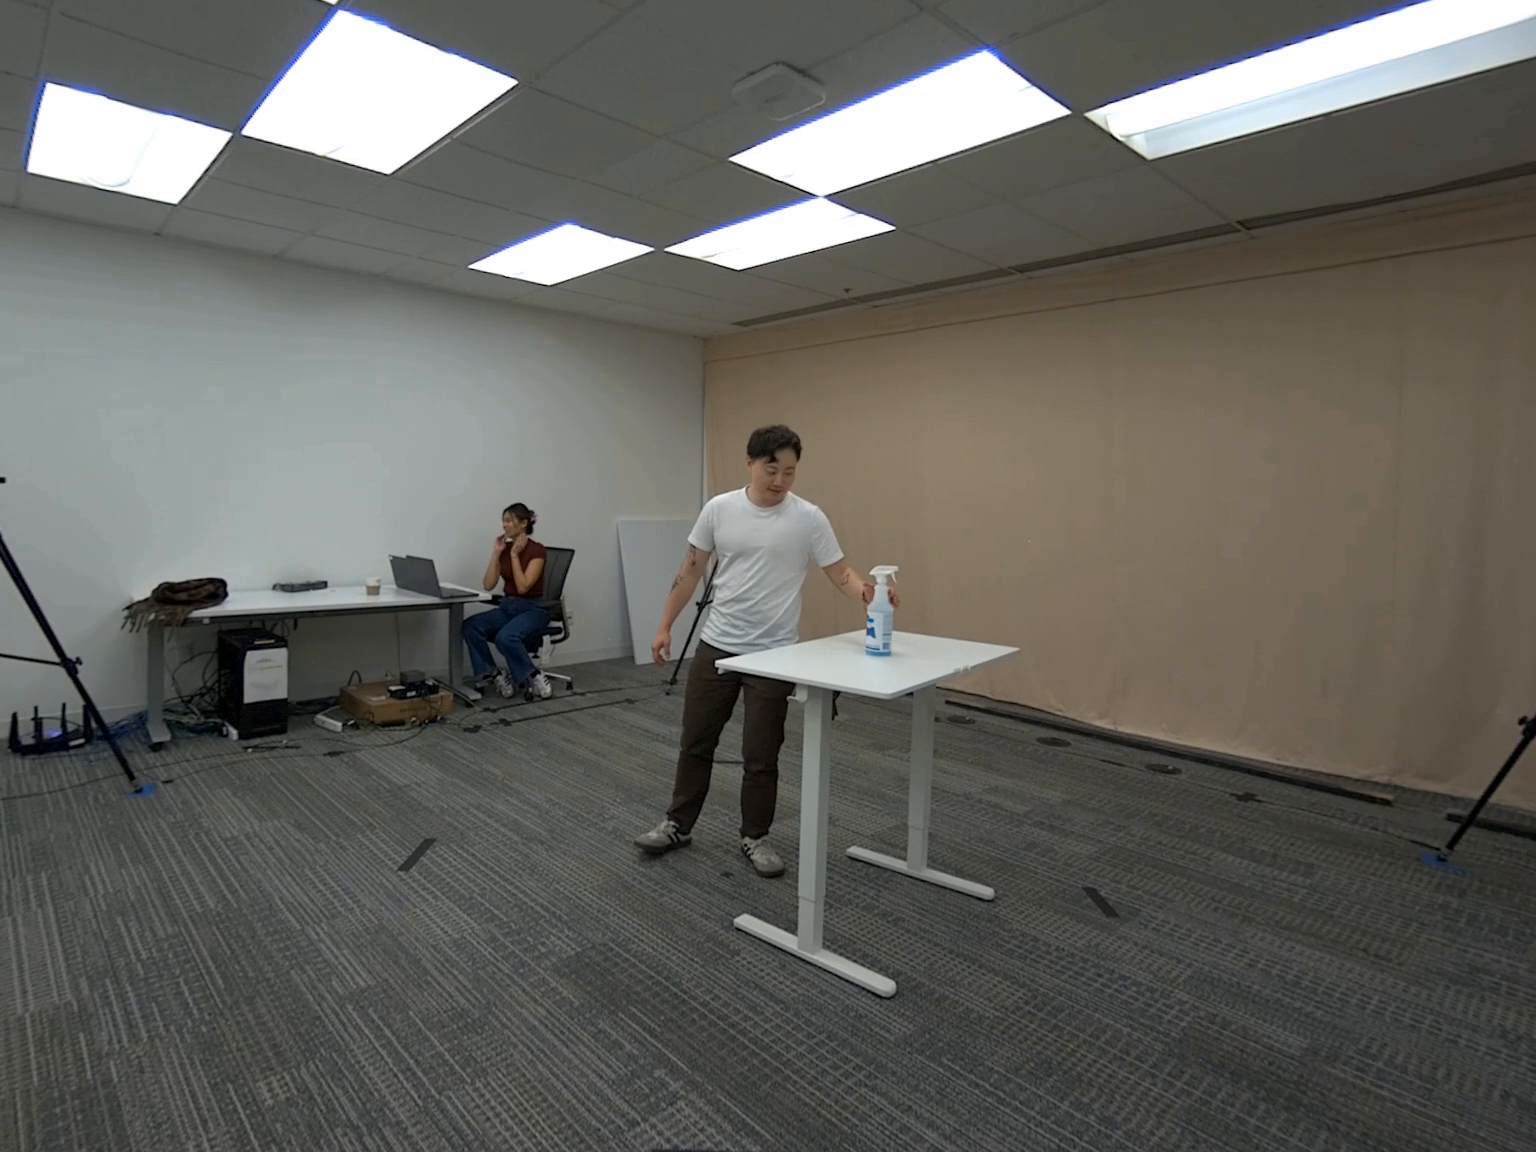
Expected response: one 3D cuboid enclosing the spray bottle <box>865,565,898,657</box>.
[{"bbox_3d":[0.366,0.118,2.792,0.092,0.296,0.085,4,4,34],"label":"spray bottle"}]
